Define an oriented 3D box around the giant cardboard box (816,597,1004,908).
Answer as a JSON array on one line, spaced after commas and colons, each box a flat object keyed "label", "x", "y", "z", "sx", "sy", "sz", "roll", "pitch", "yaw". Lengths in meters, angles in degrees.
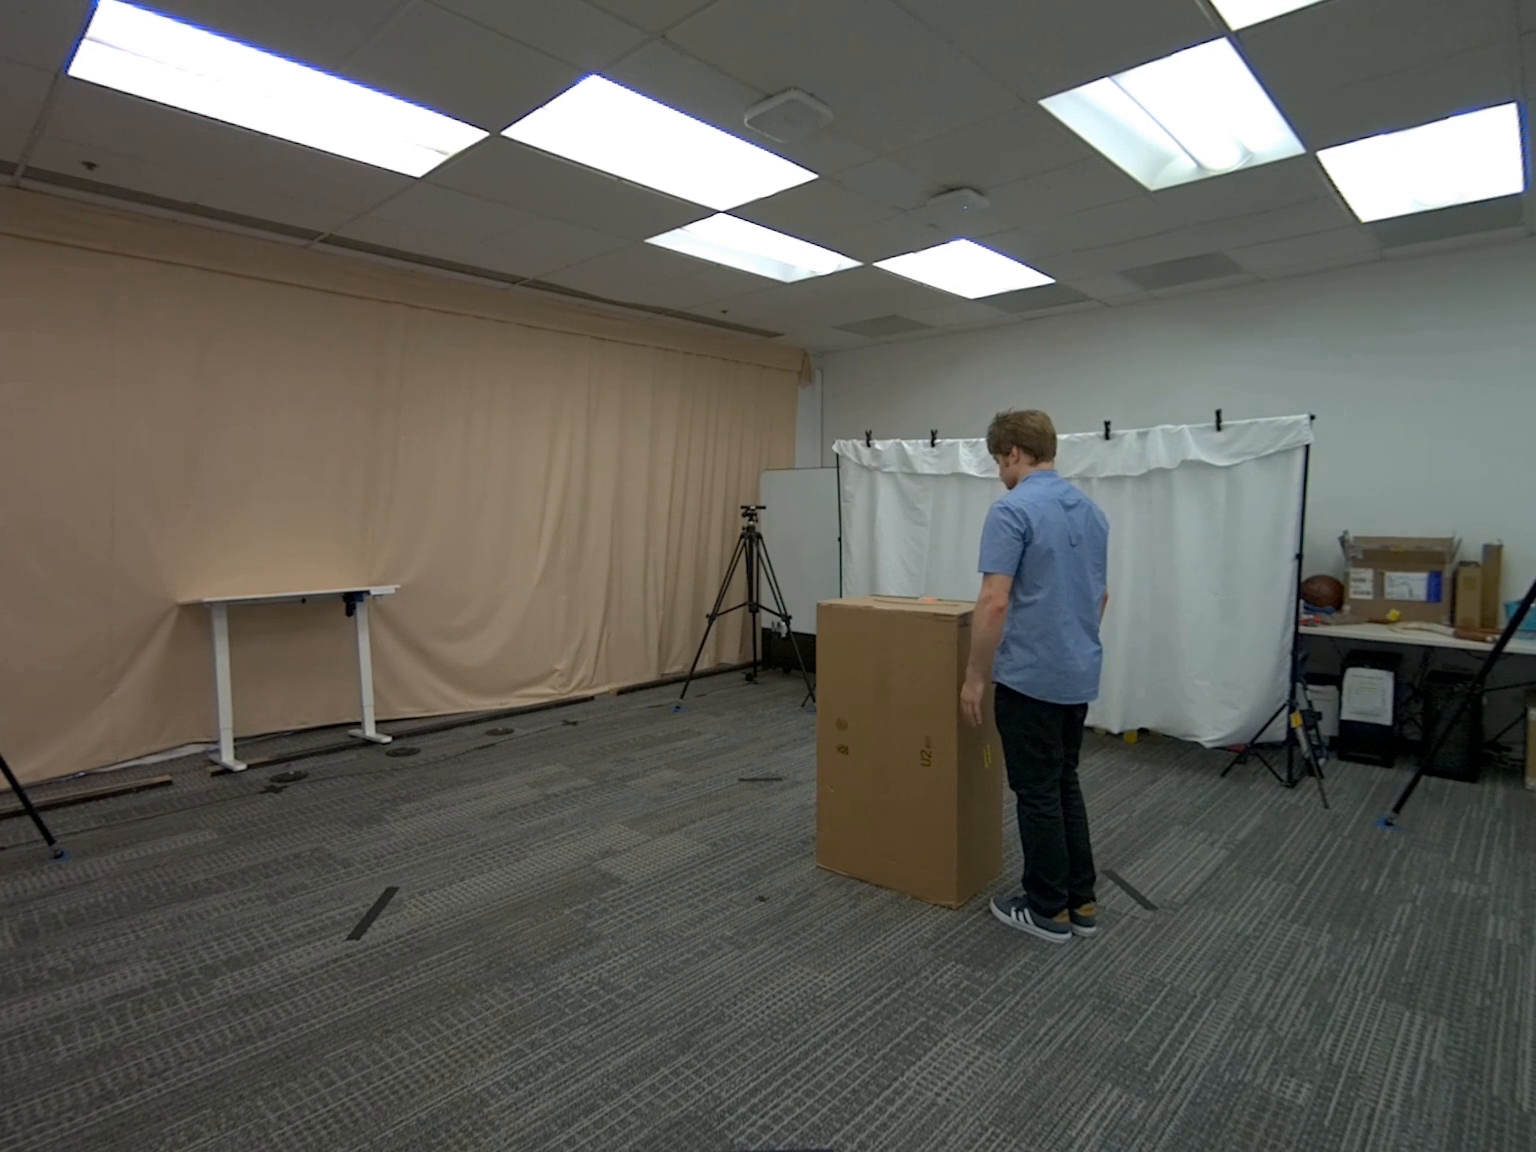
[{"label": "giant cardboard box", "x": 0.541, "y": 0.615, "z": 3.214, "sx": 0.596, "sy": 1.024, "sz": 0.413, "roll": 2, "pitch": 3, "yaw": 39}]
